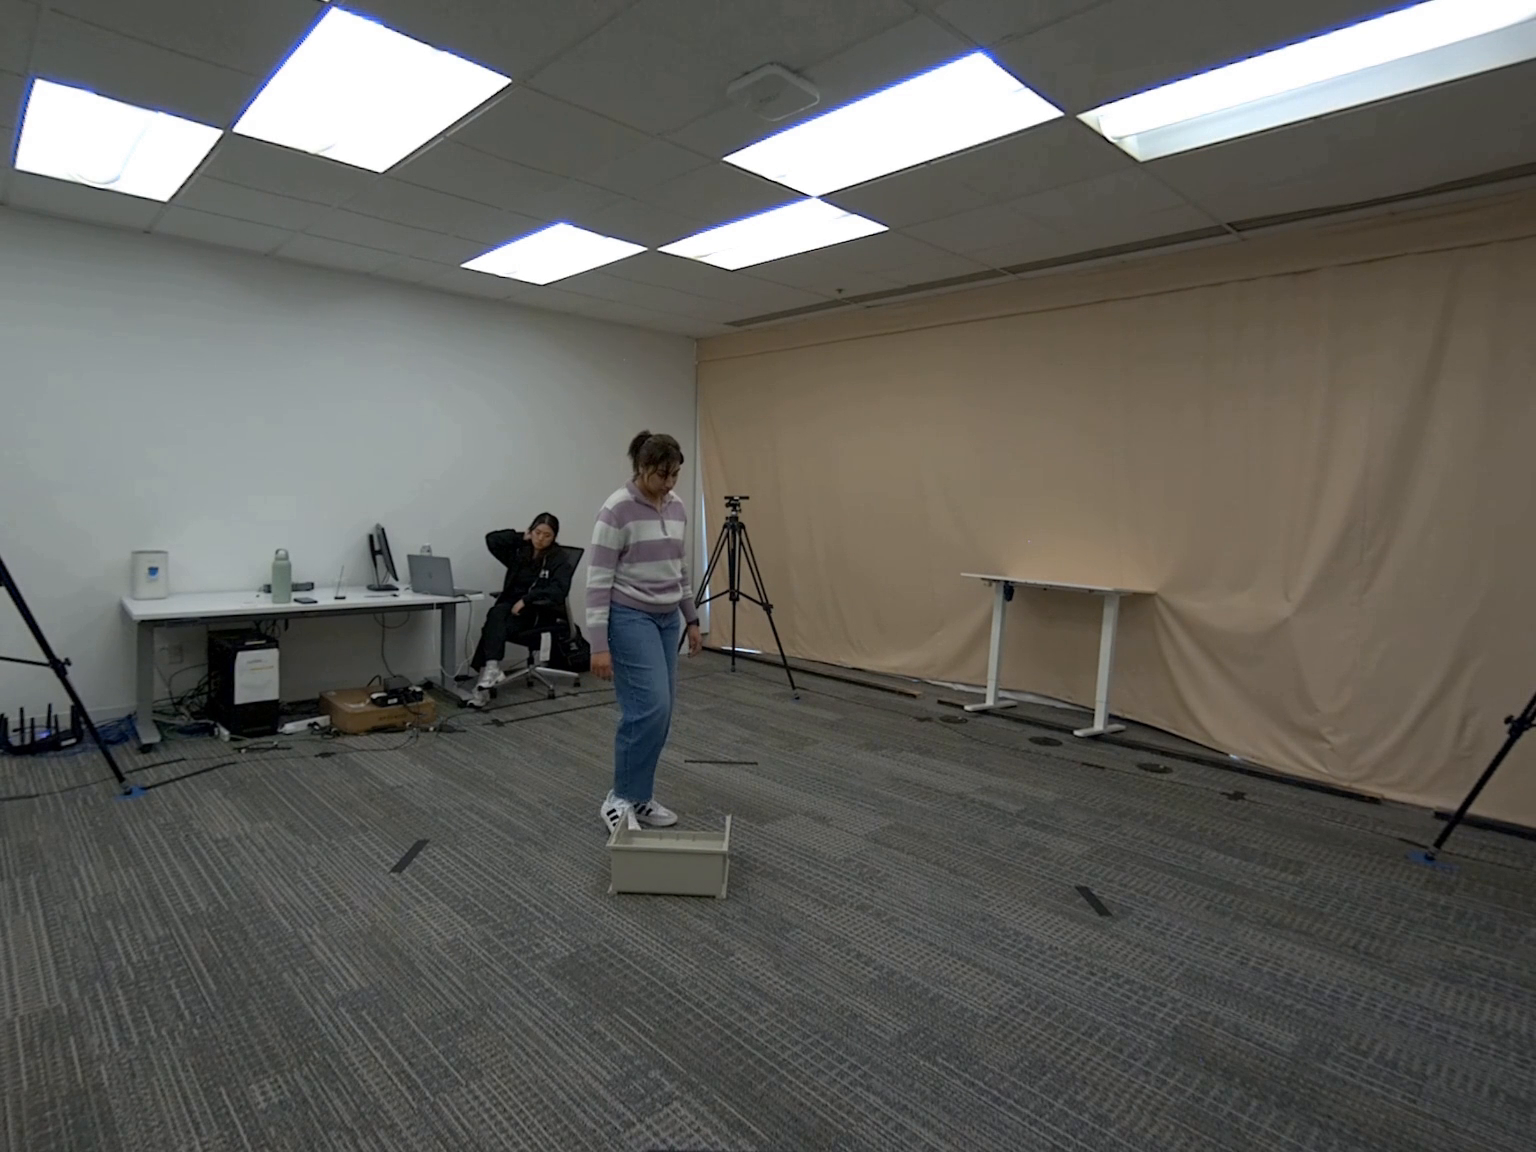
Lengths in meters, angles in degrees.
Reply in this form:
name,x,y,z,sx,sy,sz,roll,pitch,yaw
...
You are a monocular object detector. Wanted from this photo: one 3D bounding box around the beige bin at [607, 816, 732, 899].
name,x,y,z,sx,sy,sz,roll,pitch,yaw
beige bin,-0.357,1.011,3.093,0.423,0.188,0.378,2,5,1
